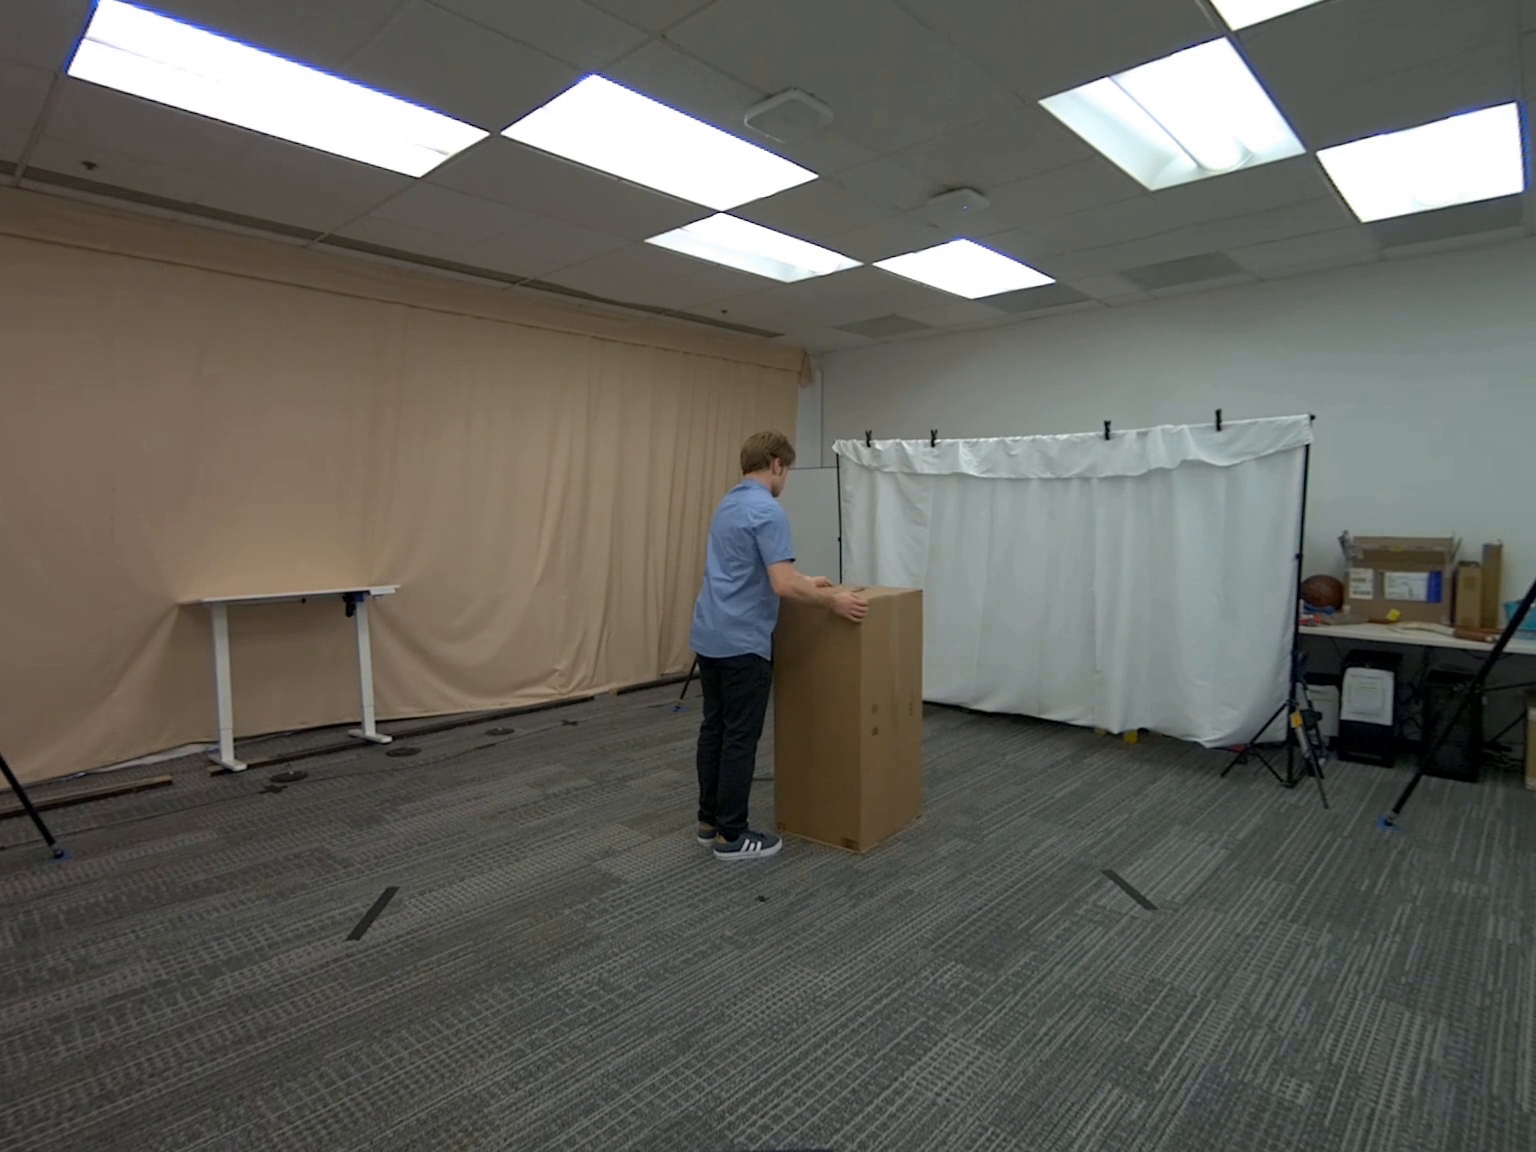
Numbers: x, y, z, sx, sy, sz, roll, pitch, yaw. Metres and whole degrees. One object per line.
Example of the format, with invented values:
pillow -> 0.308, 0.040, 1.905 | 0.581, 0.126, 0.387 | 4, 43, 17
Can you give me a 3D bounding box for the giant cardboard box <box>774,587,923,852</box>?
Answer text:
giant cardboard box -> 0.360, 0.582, 3.682 | 0.440, 1.023, 0.560 | 3, 4, 37
